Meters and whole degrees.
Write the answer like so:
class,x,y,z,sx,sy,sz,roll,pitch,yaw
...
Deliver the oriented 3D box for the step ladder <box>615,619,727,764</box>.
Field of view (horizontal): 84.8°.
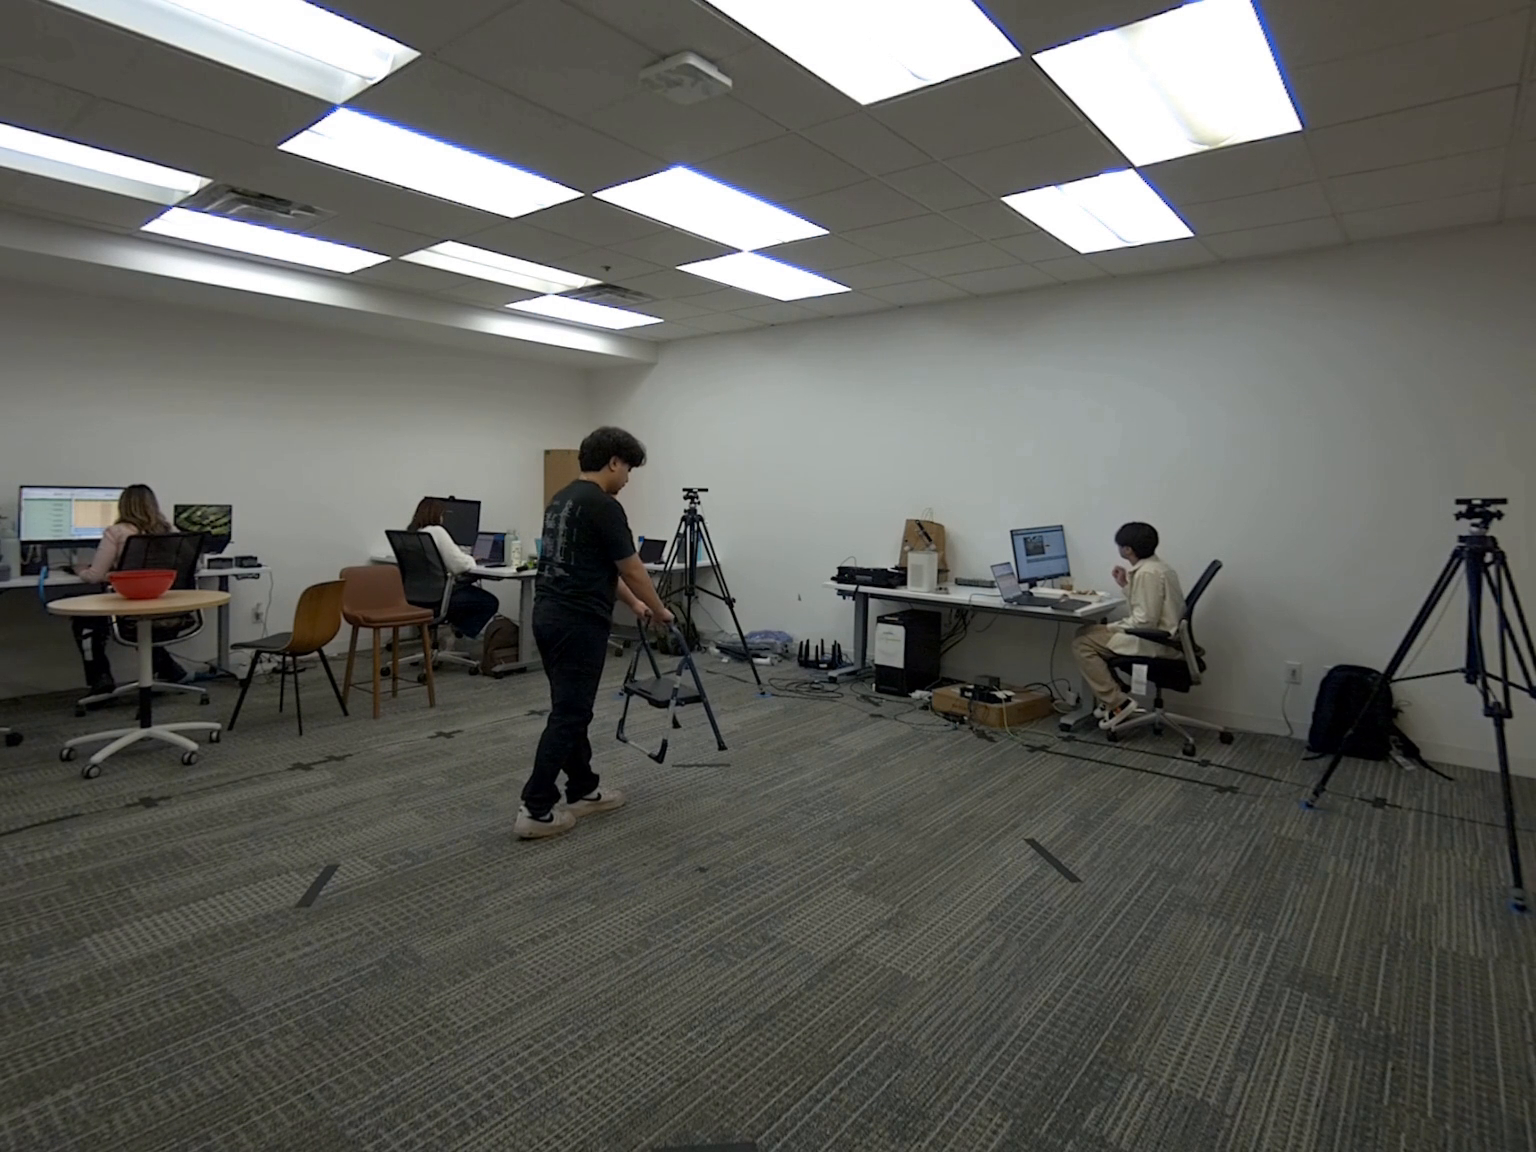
class,x,y,z,sx,sy,sz,roll,pitch,yaw
step ladder,-0.458,0.462,3.815,0.339,0.603,0.445,-3,6,-36
